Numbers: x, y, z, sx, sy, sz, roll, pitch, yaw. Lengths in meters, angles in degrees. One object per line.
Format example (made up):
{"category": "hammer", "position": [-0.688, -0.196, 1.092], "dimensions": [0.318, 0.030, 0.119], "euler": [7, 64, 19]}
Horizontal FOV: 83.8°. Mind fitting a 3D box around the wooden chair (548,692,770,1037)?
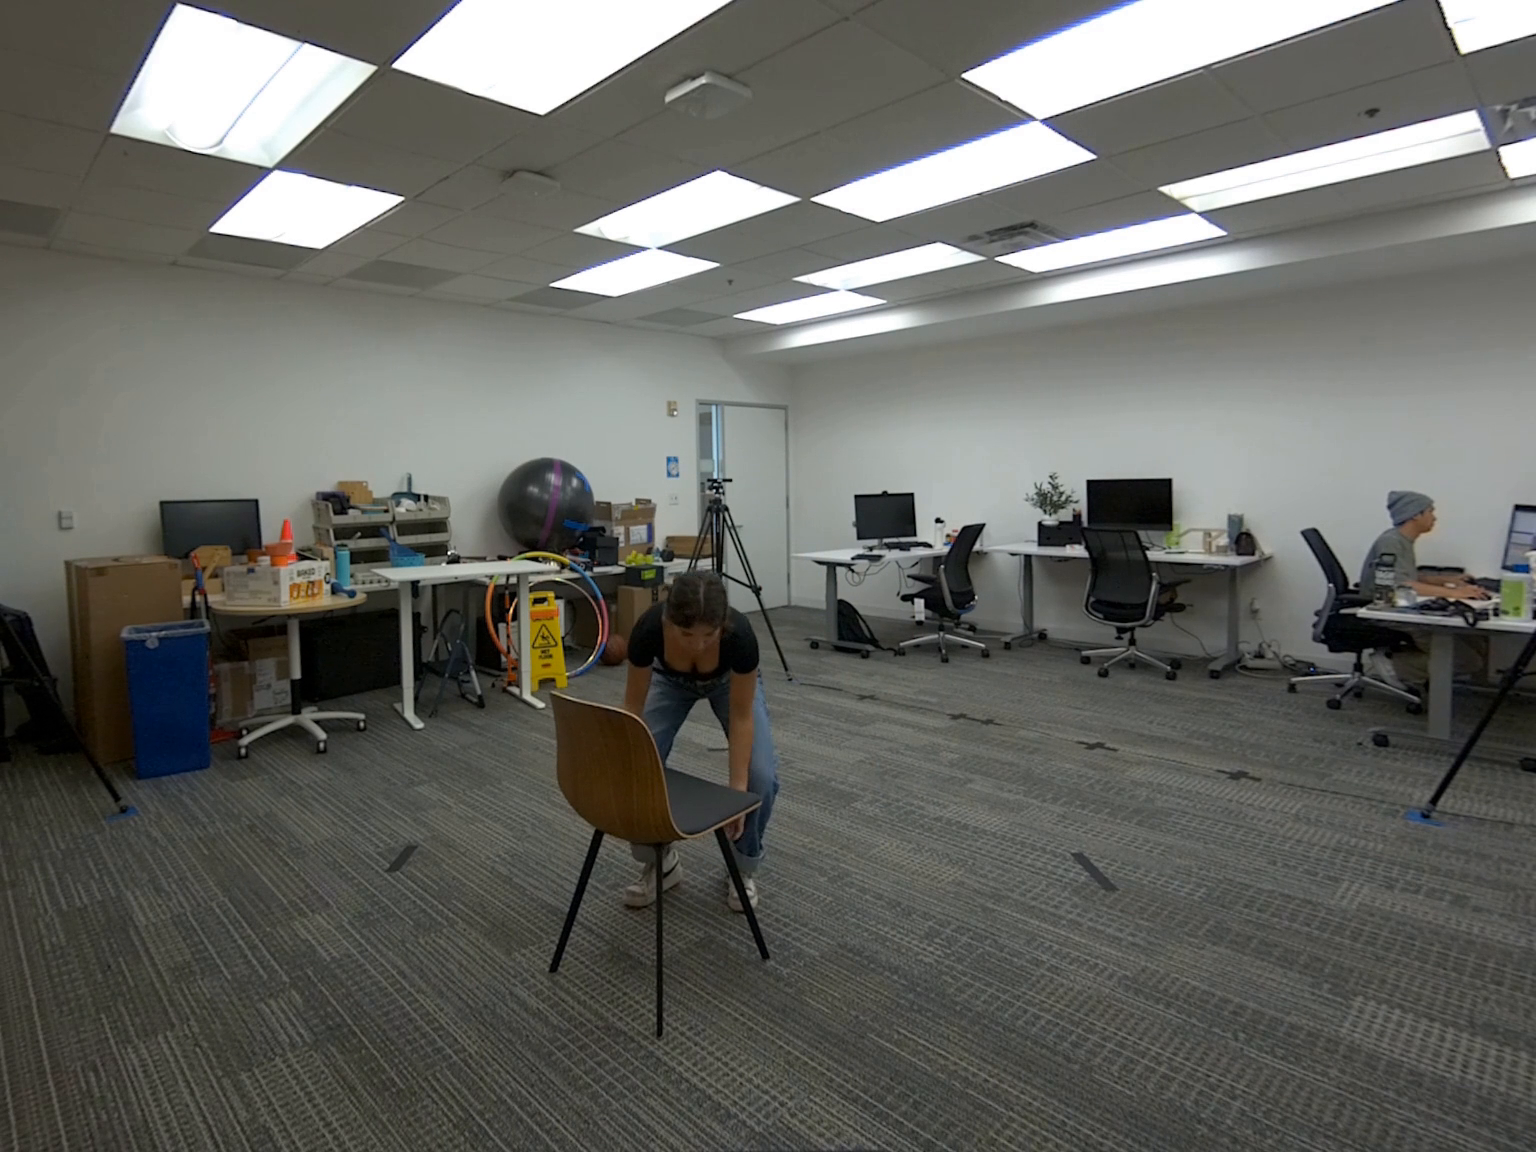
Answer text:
{"category": "wooden chair", "position": [-0.312, 0.701, 2.436], "dimensions": [0.492, 0.871, 0.511], "euler": [3, 10, 40]}
